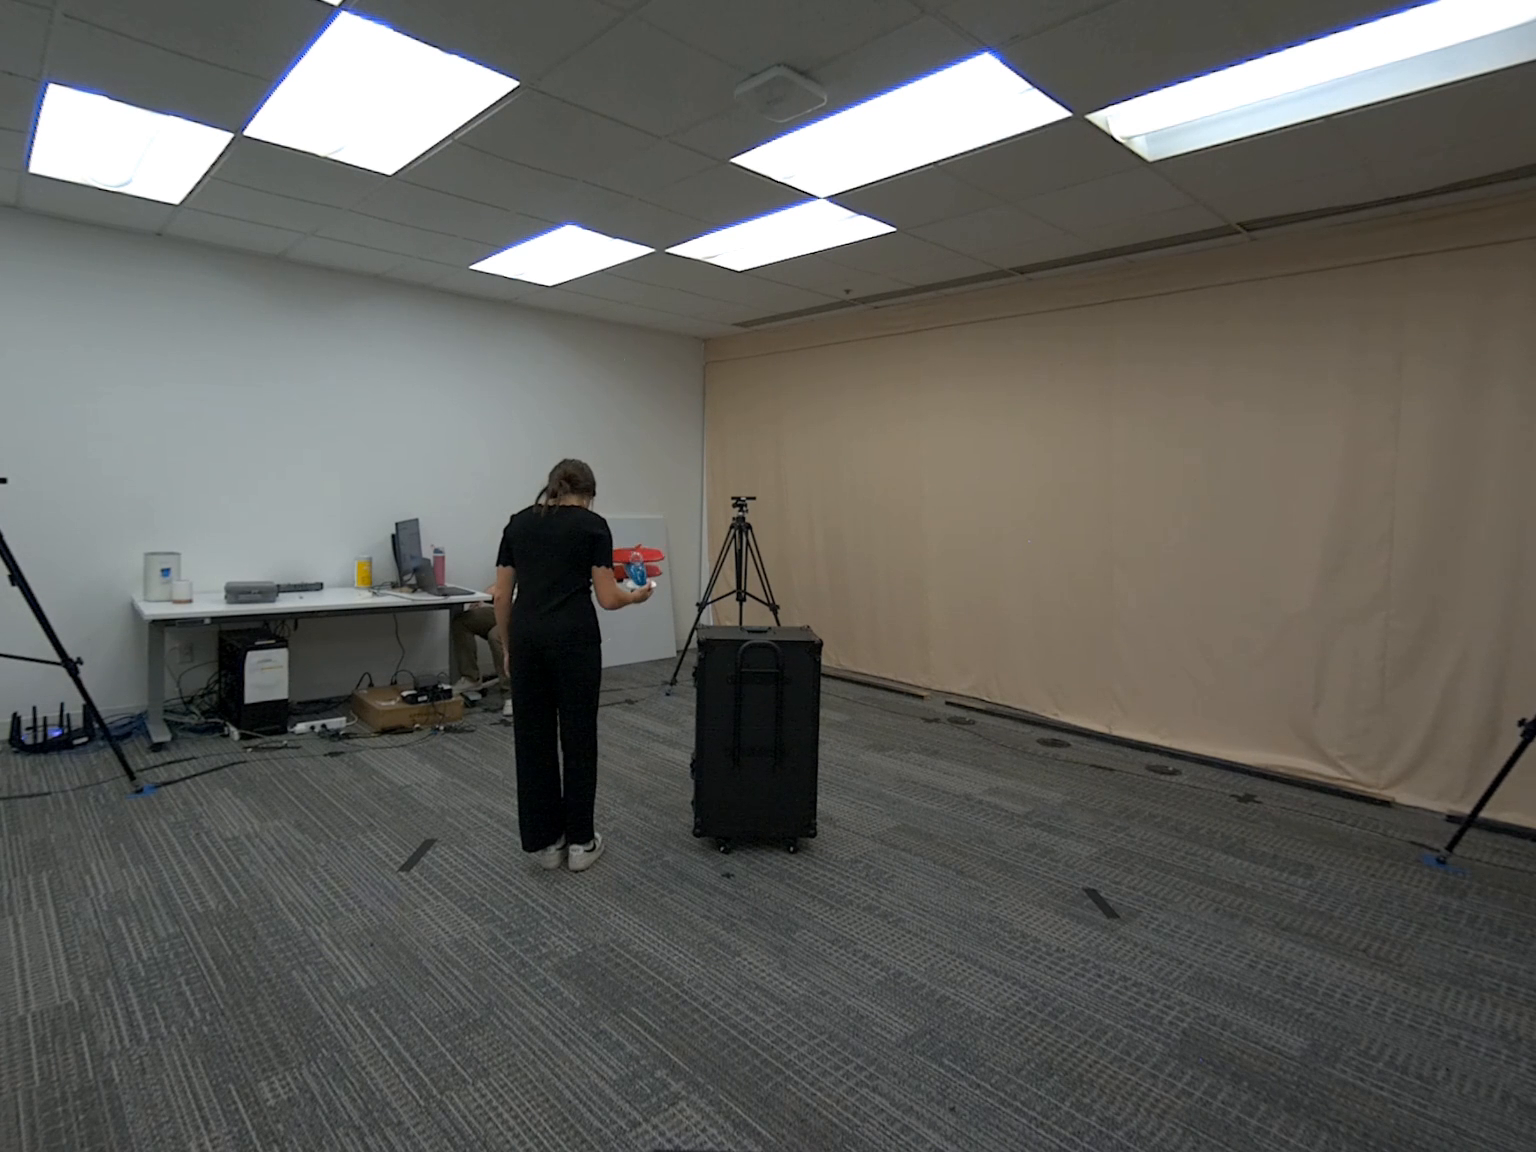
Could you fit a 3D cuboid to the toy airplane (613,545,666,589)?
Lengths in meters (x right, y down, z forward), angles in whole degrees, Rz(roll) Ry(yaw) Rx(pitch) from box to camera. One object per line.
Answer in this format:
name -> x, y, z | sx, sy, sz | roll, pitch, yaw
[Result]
toy airplane -> -0.537, -0.022, 3.454 | 0.267, 0.154, 0.247 | 18, 23, 39
